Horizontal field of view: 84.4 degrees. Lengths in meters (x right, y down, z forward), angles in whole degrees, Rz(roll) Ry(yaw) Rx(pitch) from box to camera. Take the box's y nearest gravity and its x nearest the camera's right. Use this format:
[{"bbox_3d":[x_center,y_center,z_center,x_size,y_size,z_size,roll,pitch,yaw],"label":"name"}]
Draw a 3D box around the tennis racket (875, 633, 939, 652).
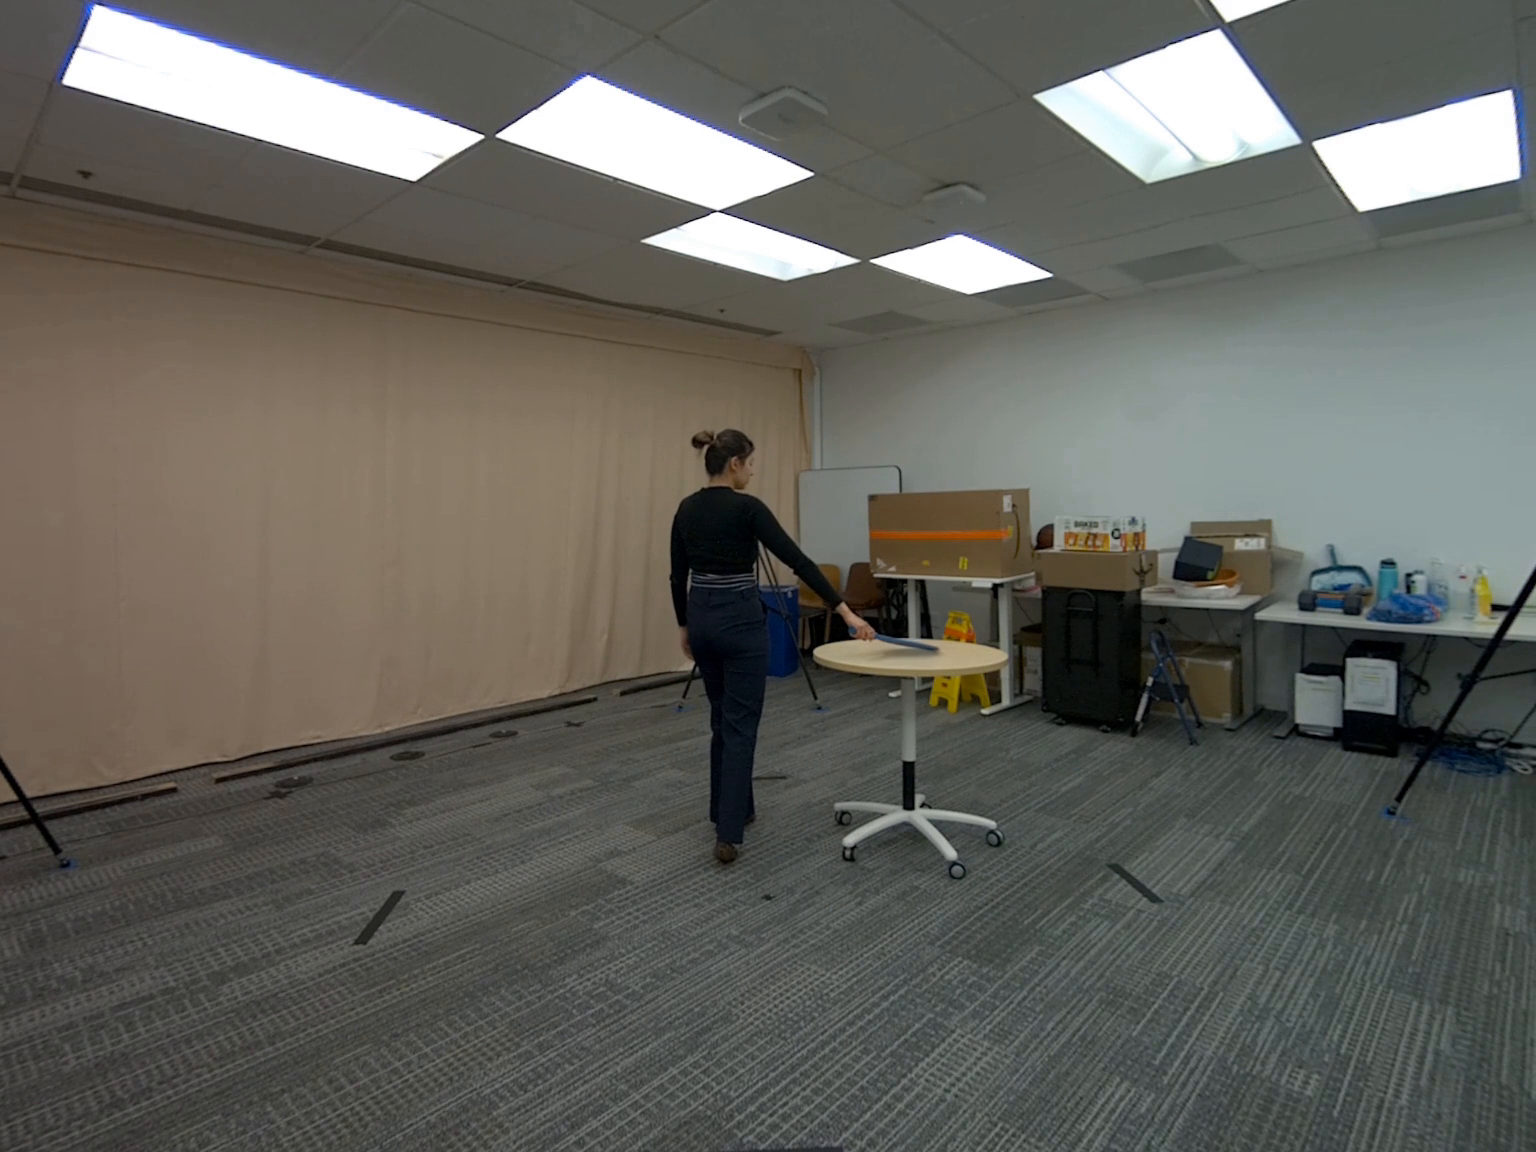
[{"bbox_3d":[0.504,0.263,3.372,0.421,0.032,0.219,12,-6,-27],"label":"tennis racket"}]
